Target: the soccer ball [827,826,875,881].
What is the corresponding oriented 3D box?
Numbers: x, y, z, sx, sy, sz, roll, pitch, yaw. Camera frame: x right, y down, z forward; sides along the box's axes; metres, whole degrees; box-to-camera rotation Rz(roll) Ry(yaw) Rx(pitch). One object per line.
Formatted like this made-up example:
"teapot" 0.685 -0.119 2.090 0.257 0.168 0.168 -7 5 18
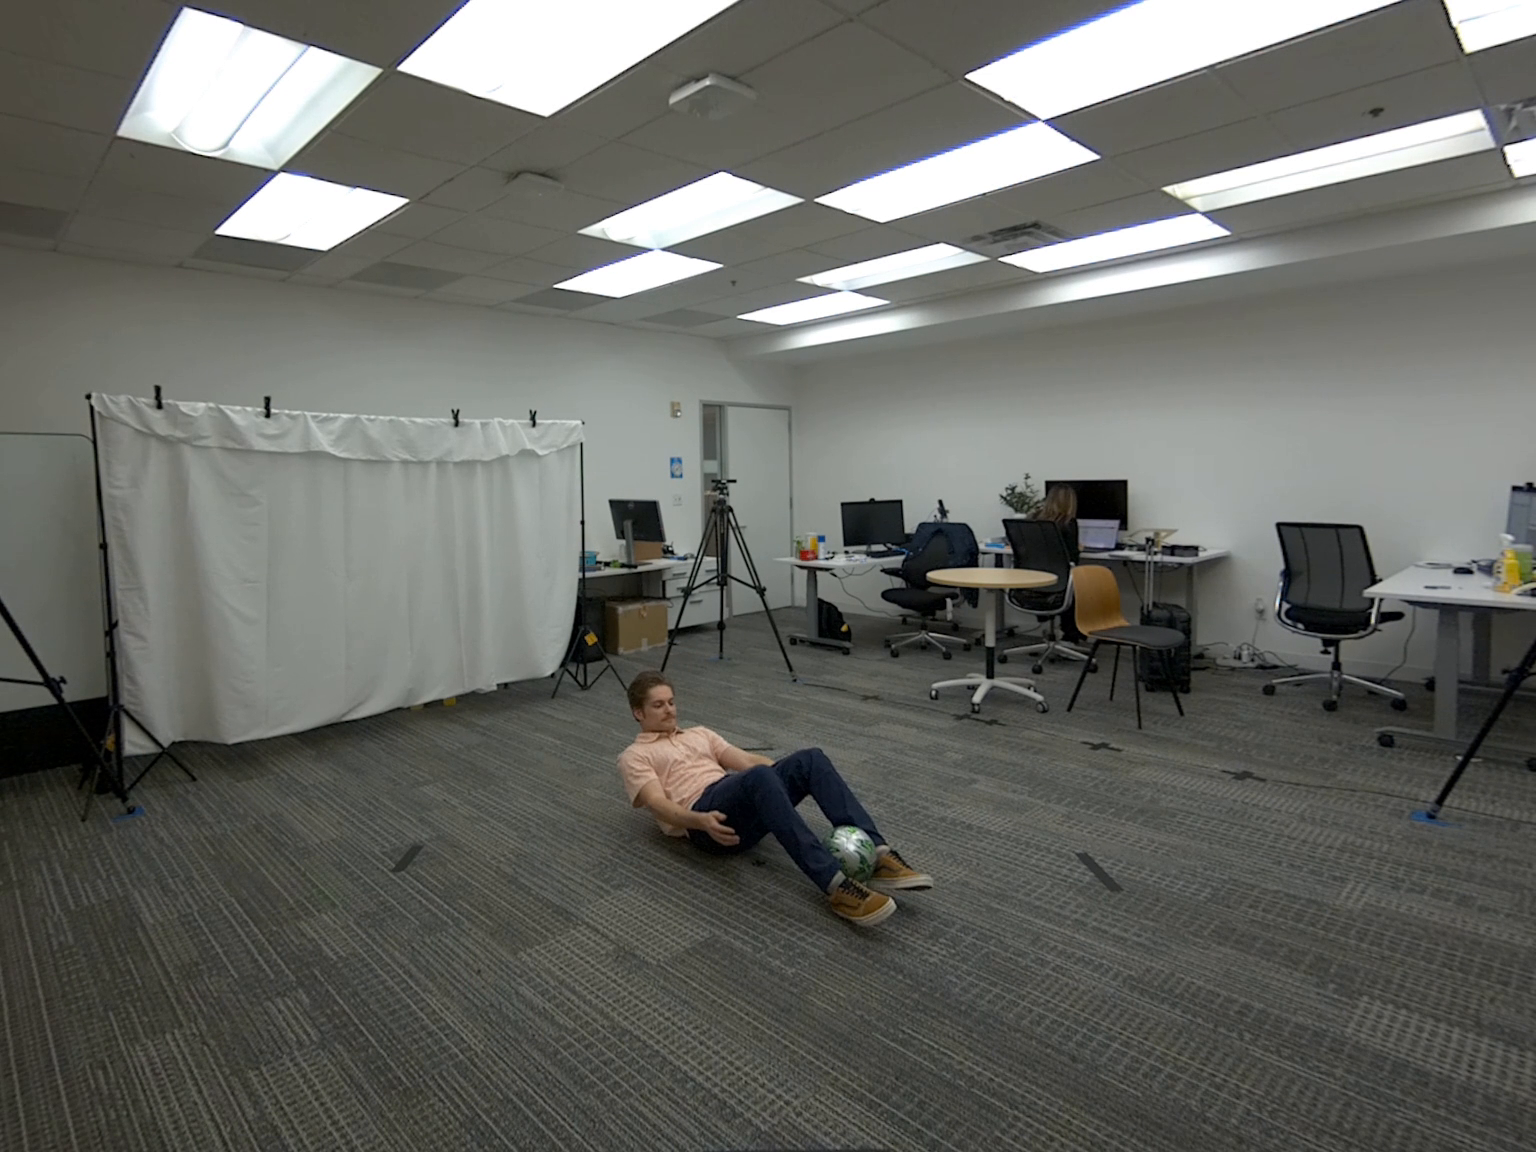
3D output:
"soccer ball" 0.255 0.924 2.823 0.187 0.187 0.188 -1 5 -2
